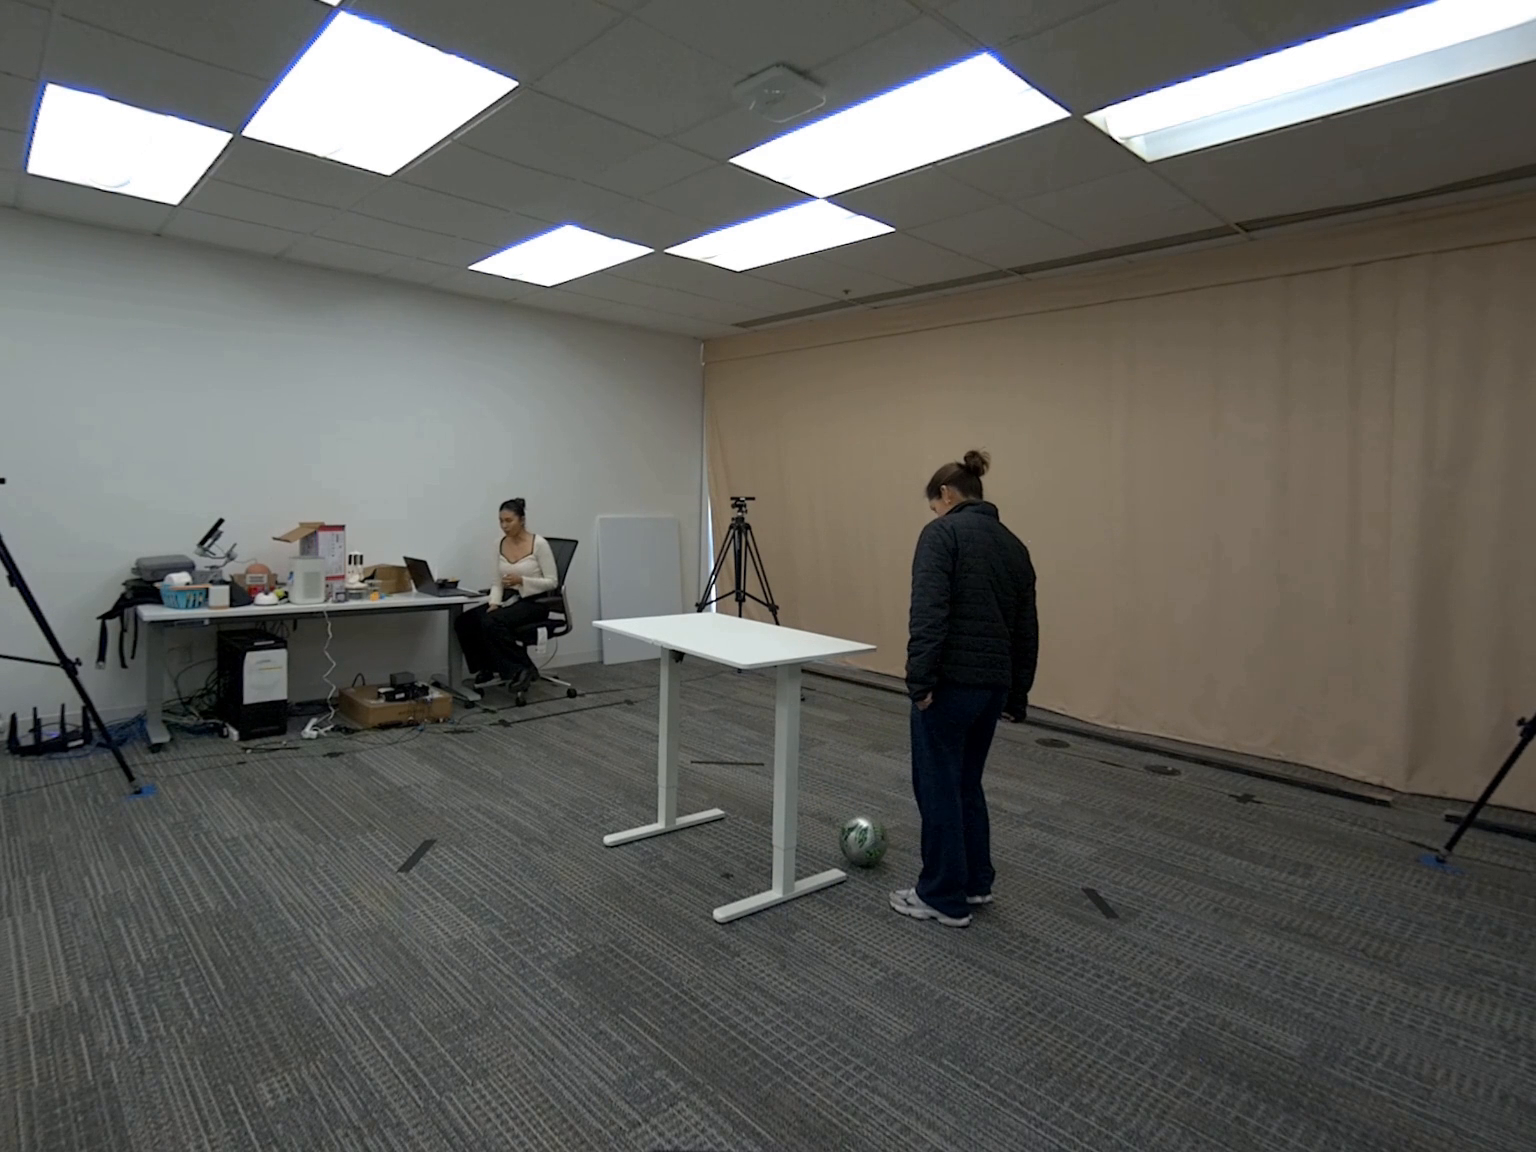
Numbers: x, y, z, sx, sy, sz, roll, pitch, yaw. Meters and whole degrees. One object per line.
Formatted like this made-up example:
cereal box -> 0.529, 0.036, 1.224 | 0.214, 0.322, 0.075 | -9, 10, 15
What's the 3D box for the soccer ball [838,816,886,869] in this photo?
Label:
soccer ball -> 0.359, 1.013, 3.232 | 0.187, 0.187, 0.188 | 1, 4, -1
